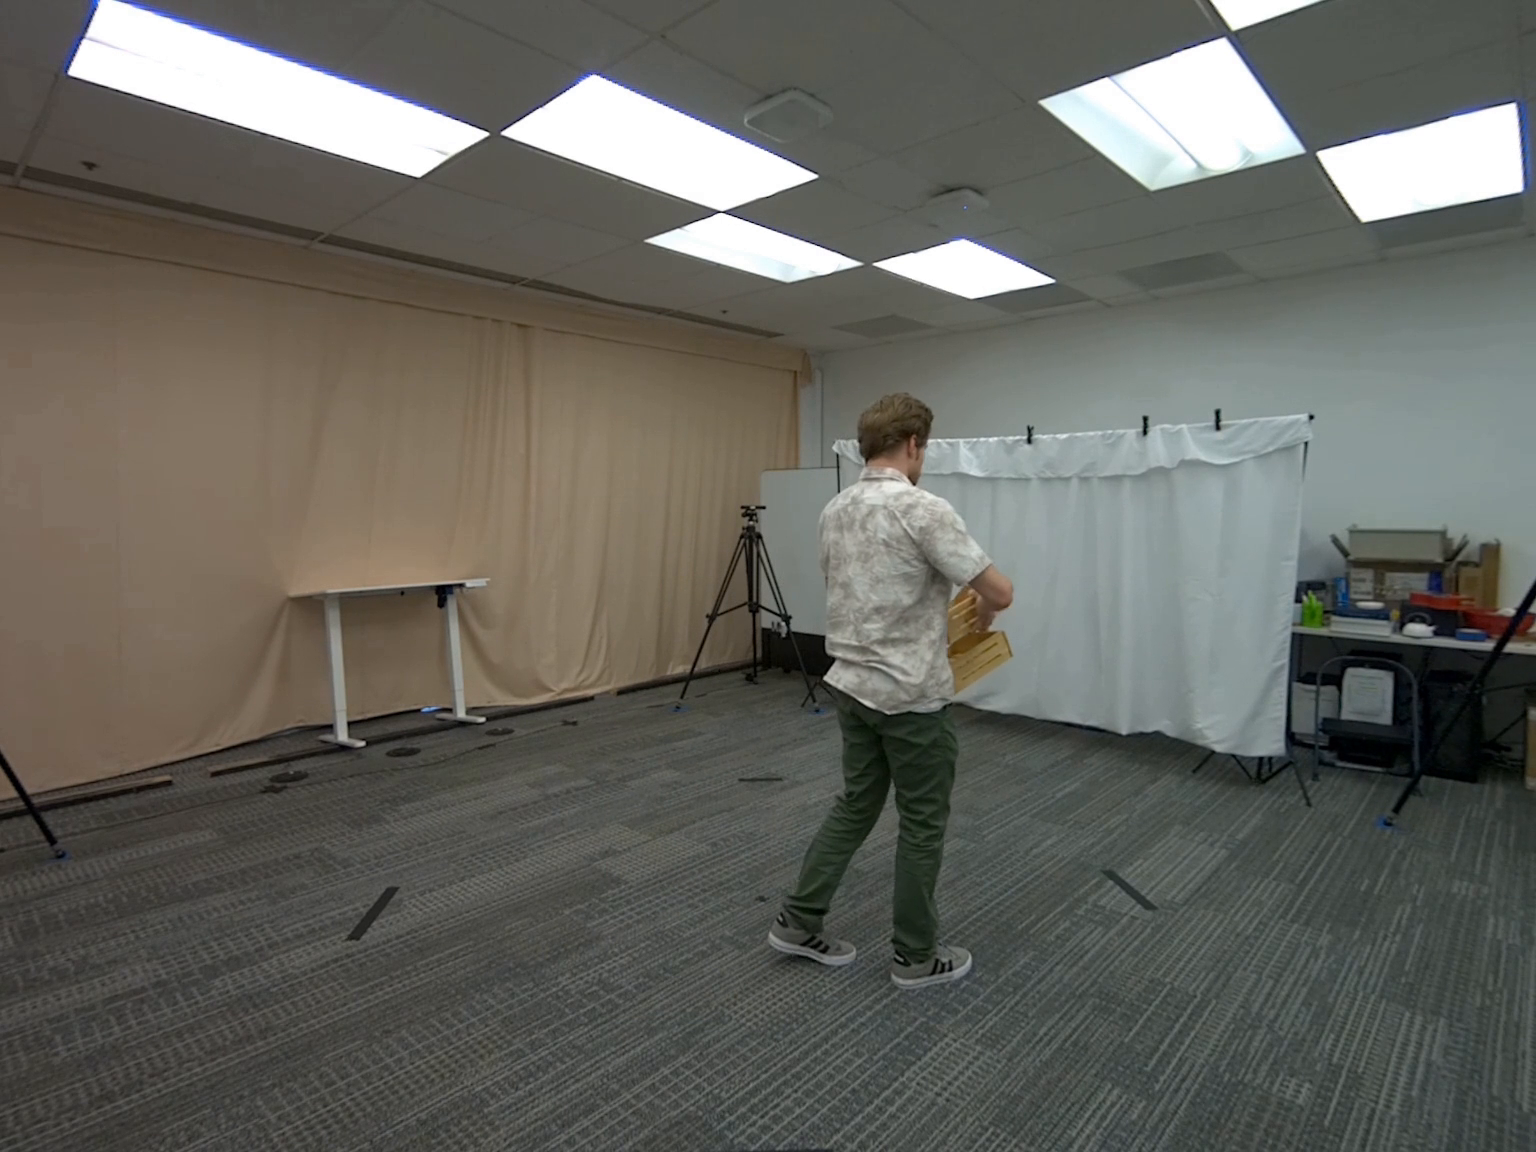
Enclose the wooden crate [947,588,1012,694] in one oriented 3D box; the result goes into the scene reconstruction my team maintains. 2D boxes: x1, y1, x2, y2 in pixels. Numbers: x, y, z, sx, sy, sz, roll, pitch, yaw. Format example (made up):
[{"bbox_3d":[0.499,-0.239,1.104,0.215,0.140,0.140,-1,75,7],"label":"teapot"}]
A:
[{"bbox_3d":[0.585,0.200,2.746,0.318,0.271,0.310,-26,8,-31],"label":"wooden crate"}]
